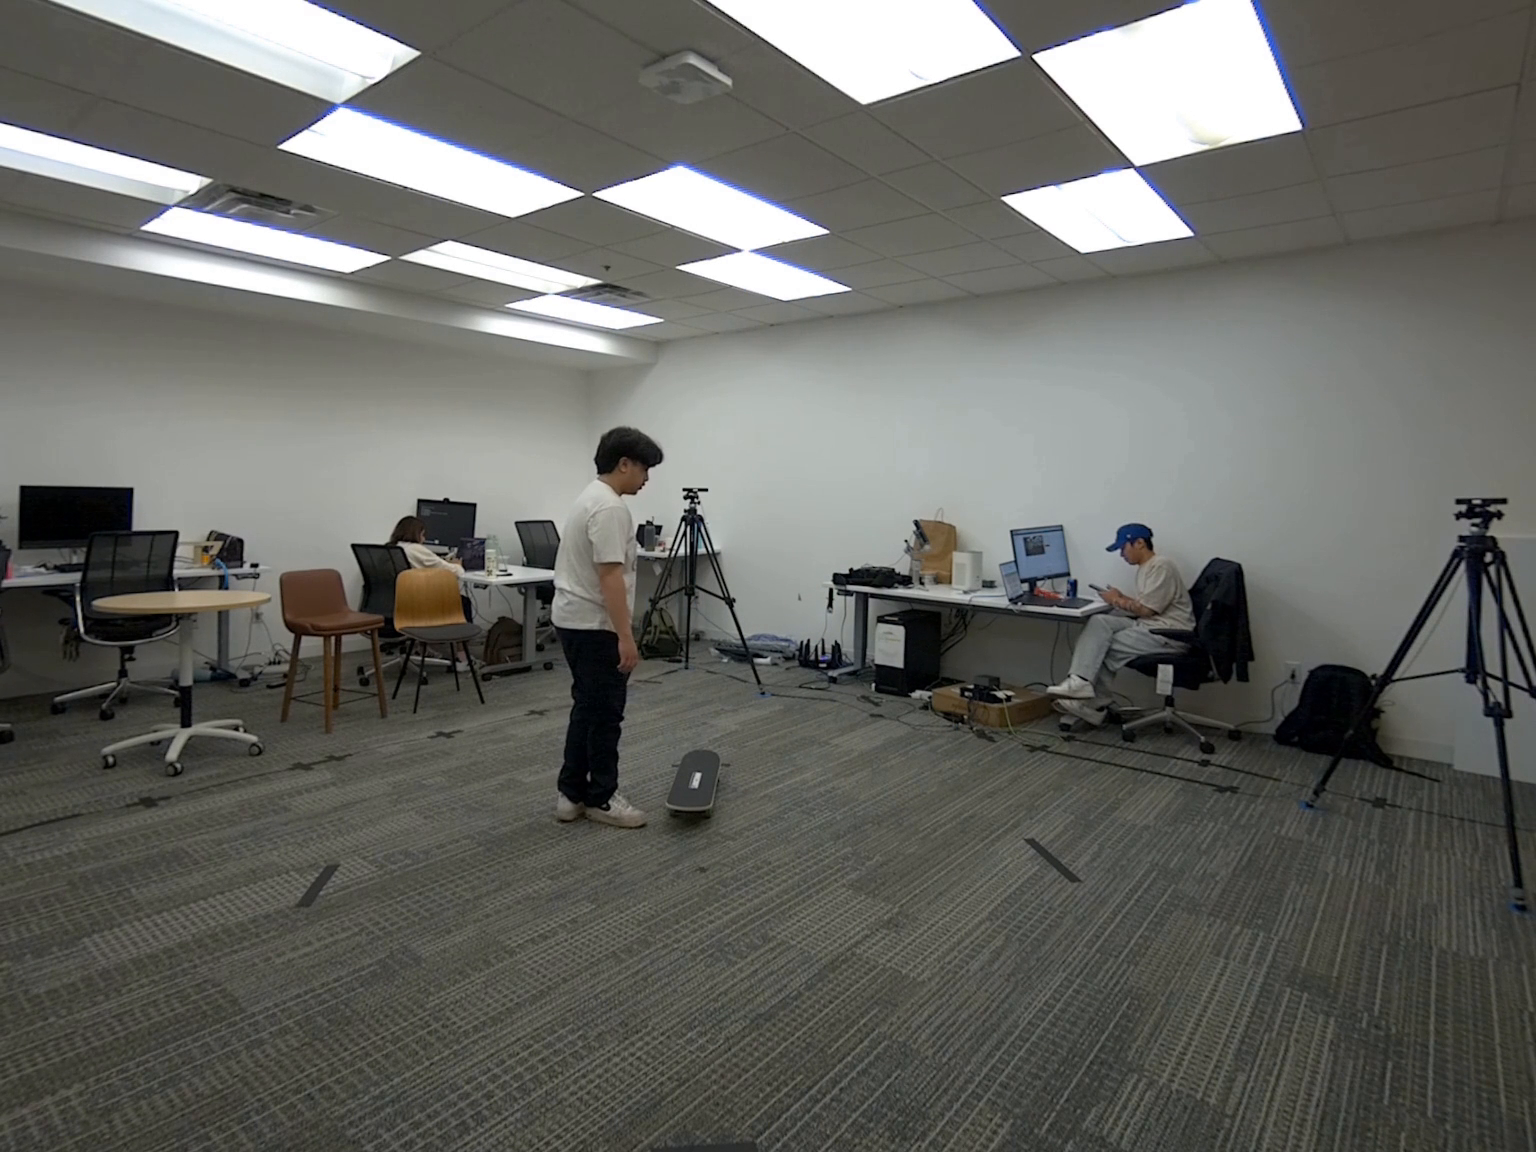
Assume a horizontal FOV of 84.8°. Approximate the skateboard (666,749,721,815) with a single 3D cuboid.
[{"bbox_3d":[-0.346,0.940,3.807,0.194,0.110,0.785,1,6,2],"label":"skateboard"}]
